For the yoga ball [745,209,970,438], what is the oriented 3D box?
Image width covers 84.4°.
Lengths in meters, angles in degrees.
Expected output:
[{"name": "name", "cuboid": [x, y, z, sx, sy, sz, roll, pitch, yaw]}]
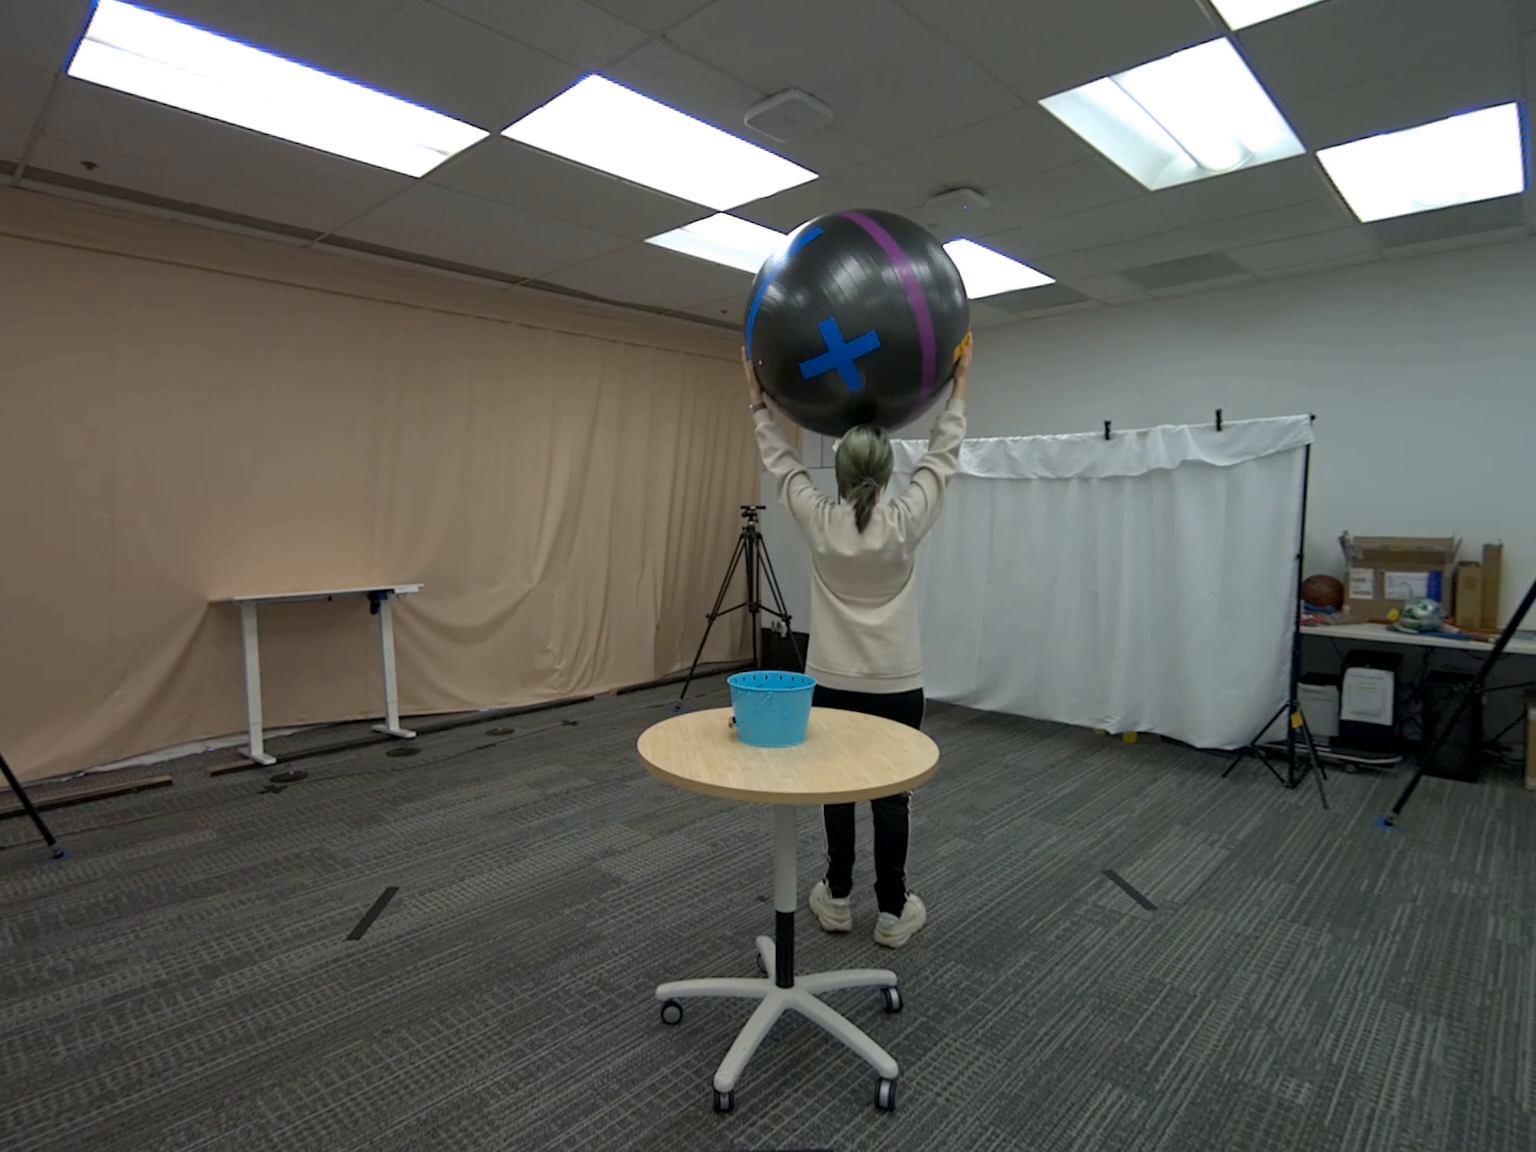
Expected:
[{"name": "yoga ball", "cuboid": [0.298, -0.842, 2.872, 0.757, 0.756, 0.761, 0, 4, -2]}]
